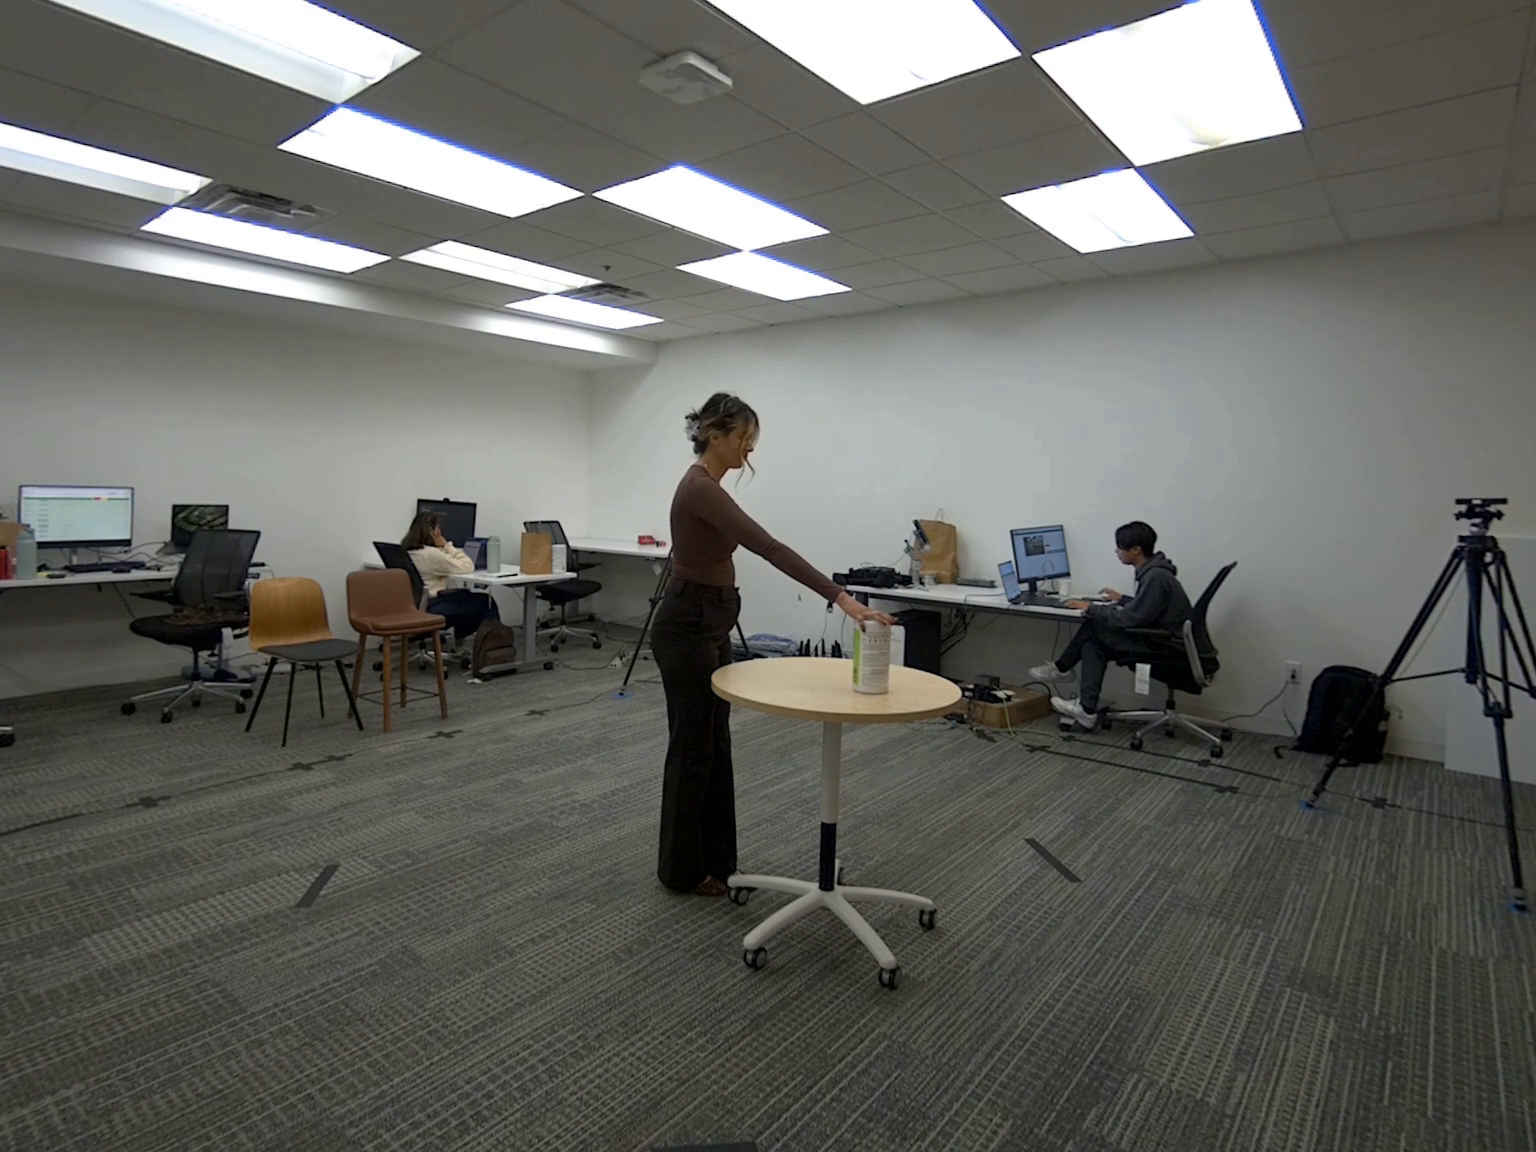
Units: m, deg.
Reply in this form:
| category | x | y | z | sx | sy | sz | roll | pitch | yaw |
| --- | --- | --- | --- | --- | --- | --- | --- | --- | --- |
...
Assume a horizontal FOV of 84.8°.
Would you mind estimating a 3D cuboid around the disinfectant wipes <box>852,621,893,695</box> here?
| category | x | y | z | sx | sy | sz | roll | pitch | yaw |
| --- | --- | --- | --- | --- | --- | --- | --- | --- | --- |
| disinfectant wipes | 0.303 | 0.232 | 2.542 | 0.118 | 0.217 | 0.118 | -1 | 4 | -2 |
